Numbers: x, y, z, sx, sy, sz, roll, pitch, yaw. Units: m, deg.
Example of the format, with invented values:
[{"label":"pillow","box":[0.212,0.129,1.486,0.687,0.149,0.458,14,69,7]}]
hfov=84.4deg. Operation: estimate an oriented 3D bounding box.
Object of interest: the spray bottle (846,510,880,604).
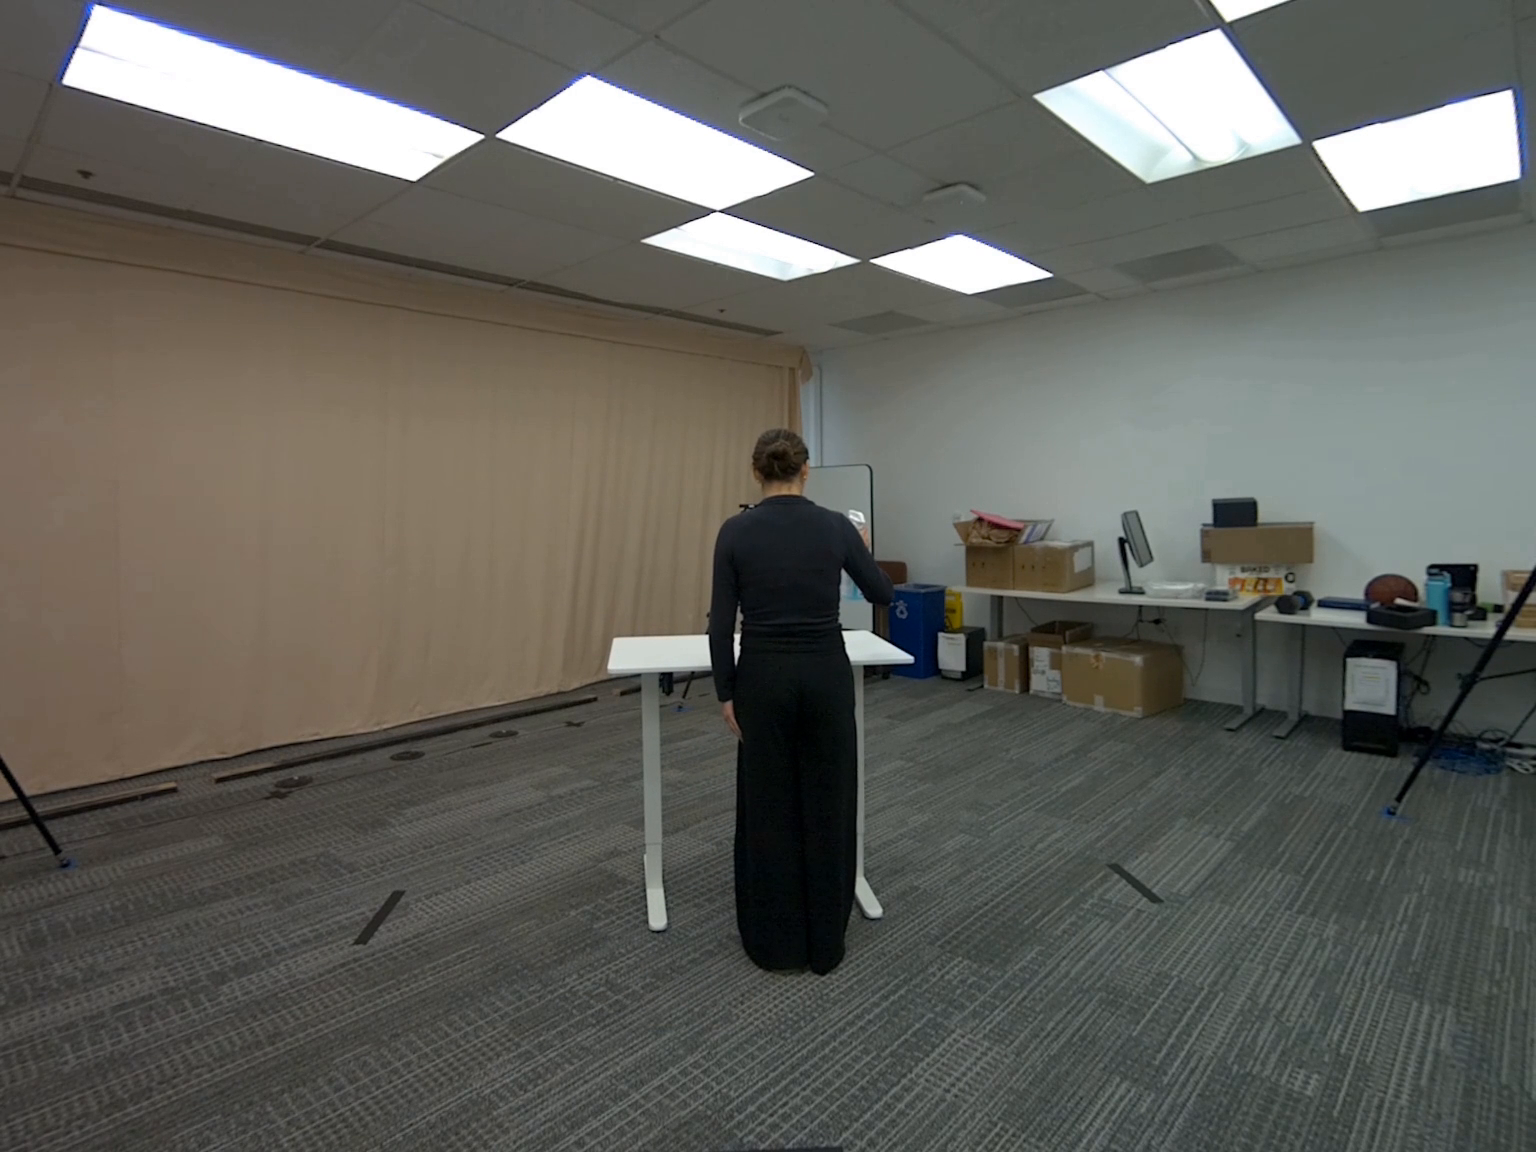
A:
[{"label":"spray bottle","box":[0.315,-0.067,2.831,0.087,0.296,0.090,2,8,3]}]
